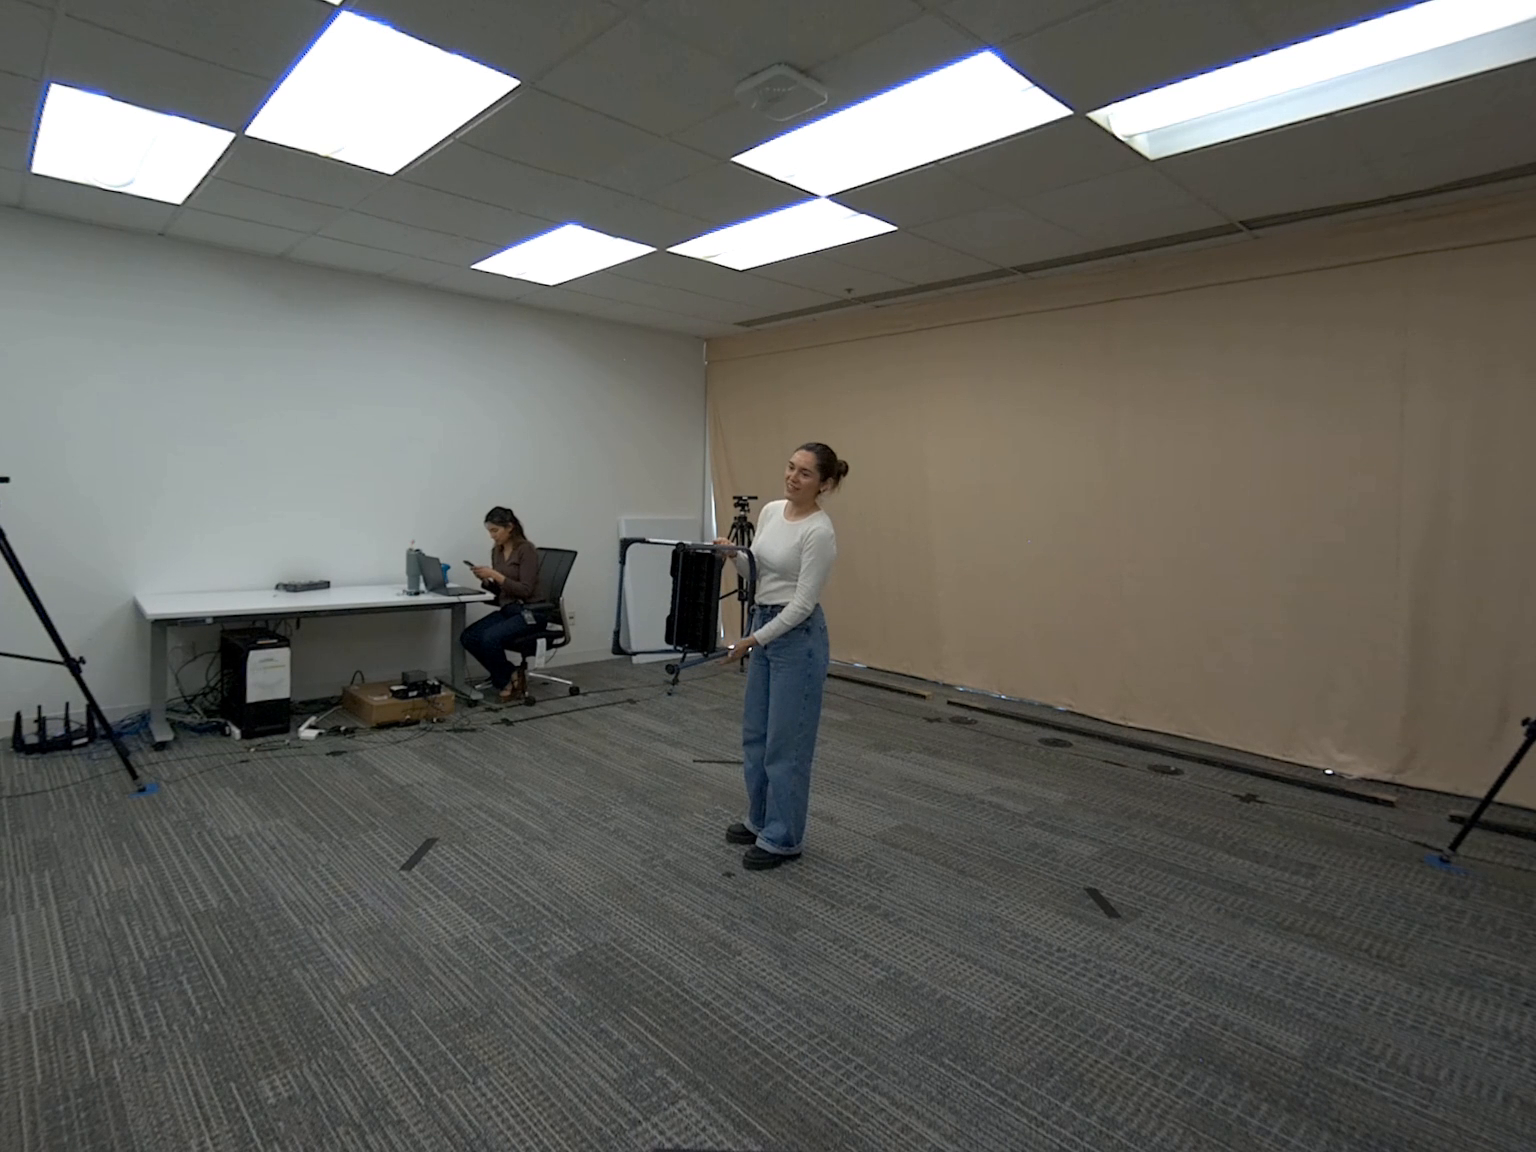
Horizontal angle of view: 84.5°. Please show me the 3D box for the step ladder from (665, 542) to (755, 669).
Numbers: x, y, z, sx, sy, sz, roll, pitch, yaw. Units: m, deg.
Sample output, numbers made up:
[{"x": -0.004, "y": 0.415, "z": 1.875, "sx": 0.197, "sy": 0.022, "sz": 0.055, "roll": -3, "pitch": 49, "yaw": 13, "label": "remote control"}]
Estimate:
[{"x": -0.218, "y": 0.090, "z": 3.020, "sx": 0.358, "sy": 0.430, "sz": 0.591, "roll": 8, "pitch": 3, "yaw": 45, "label": "step ladder"}]
